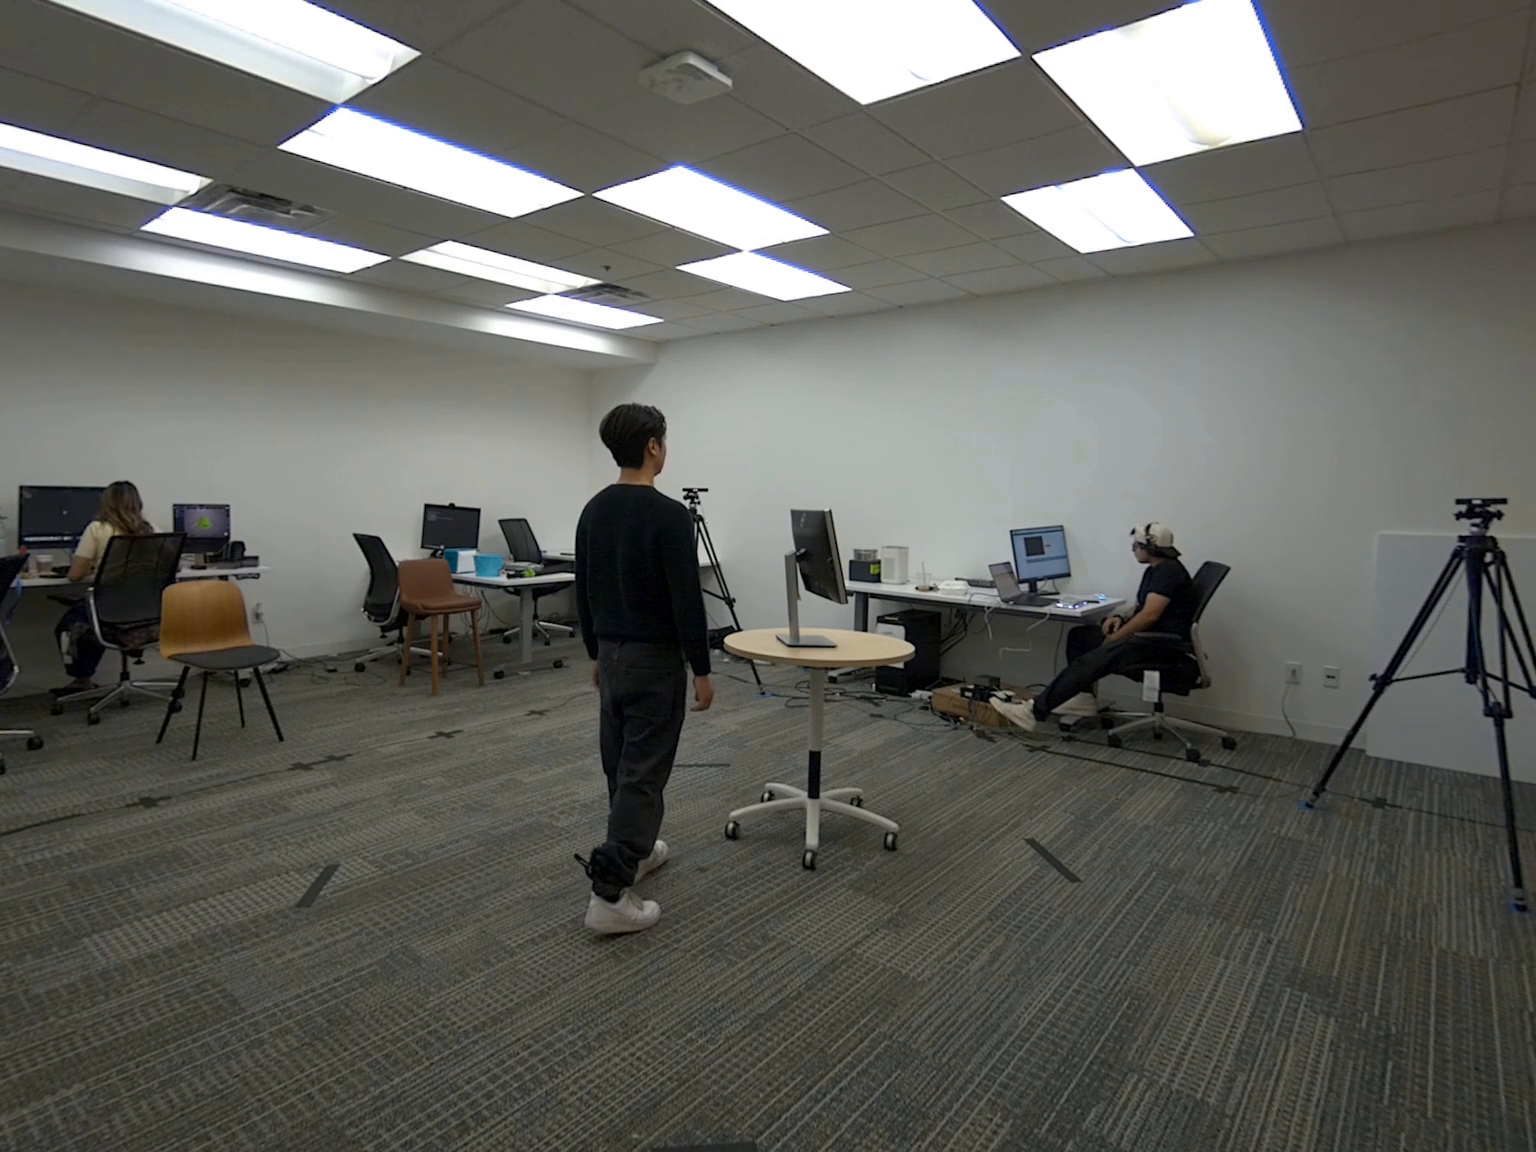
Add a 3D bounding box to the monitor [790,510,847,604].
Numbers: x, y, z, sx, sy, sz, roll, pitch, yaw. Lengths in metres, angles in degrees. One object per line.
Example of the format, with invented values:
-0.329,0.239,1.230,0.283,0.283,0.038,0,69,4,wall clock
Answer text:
0.156,-0.002,3.437,0.172,0.515,0.537,4,2,-12,monitor
